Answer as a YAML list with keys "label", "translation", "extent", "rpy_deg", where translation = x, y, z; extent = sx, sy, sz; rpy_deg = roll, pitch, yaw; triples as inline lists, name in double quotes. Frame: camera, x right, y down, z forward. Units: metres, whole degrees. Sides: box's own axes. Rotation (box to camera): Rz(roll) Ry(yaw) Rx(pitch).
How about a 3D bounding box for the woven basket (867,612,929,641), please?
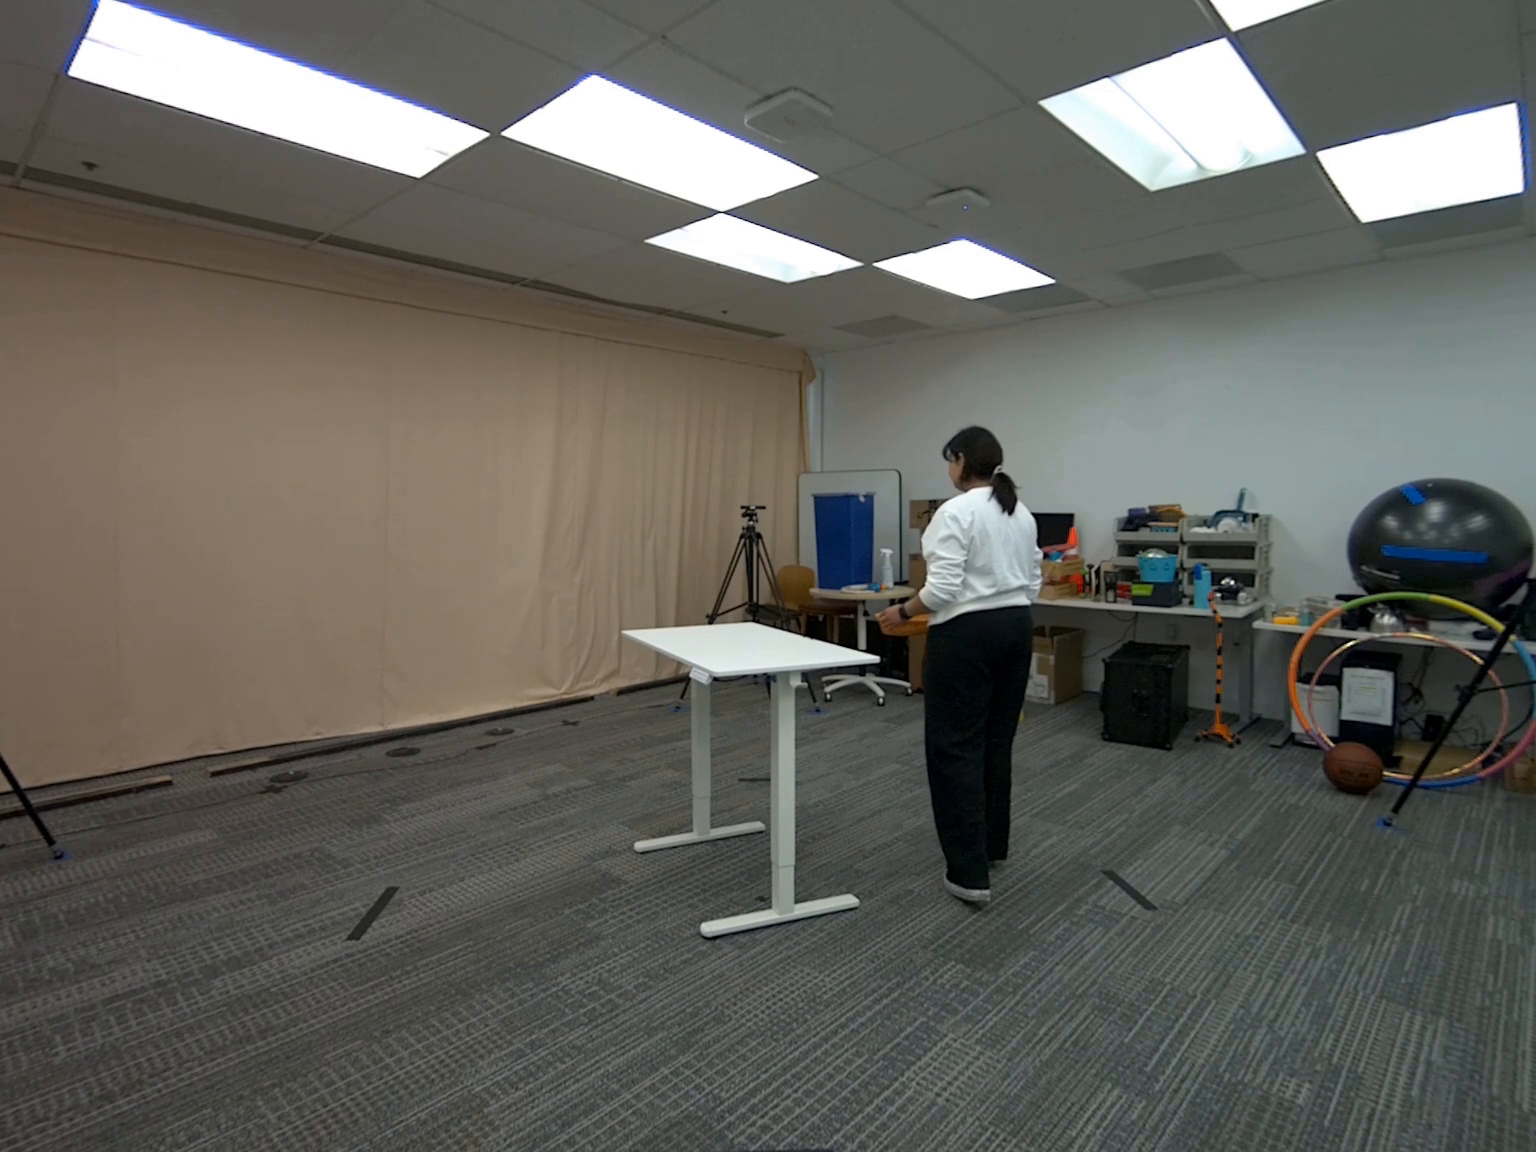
- label: "woven basket"
  translation: [0.625, 0.195, 3.457]
  extent: [0.340, 0.073, 0.260]
  rpy_deg: [-1, 5, -33]
